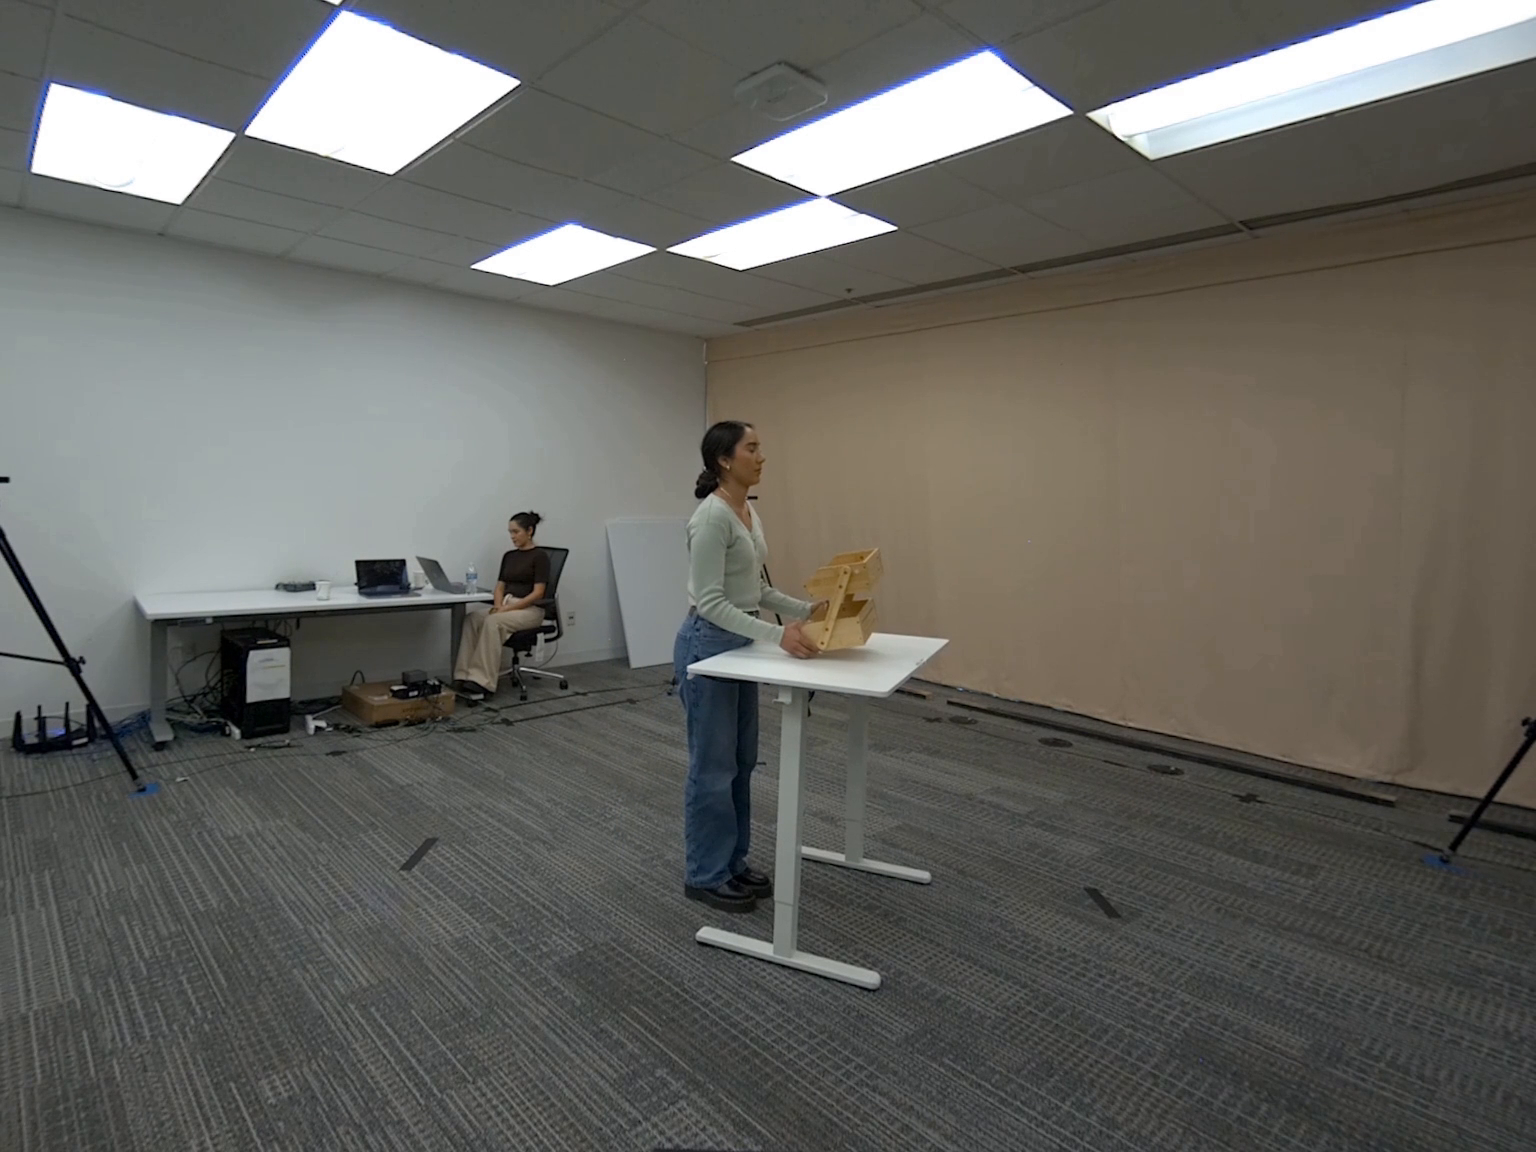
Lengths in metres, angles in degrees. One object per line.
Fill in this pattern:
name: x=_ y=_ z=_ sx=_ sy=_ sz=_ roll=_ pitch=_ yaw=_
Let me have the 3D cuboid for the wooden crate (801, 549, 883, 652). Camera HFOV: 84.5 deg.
wooden crate: x=0.210 y=0.077 z=2.777 sx=0.305 sy=0.272 sz=0.322 roll=-10 pitch=6 yaw=17
